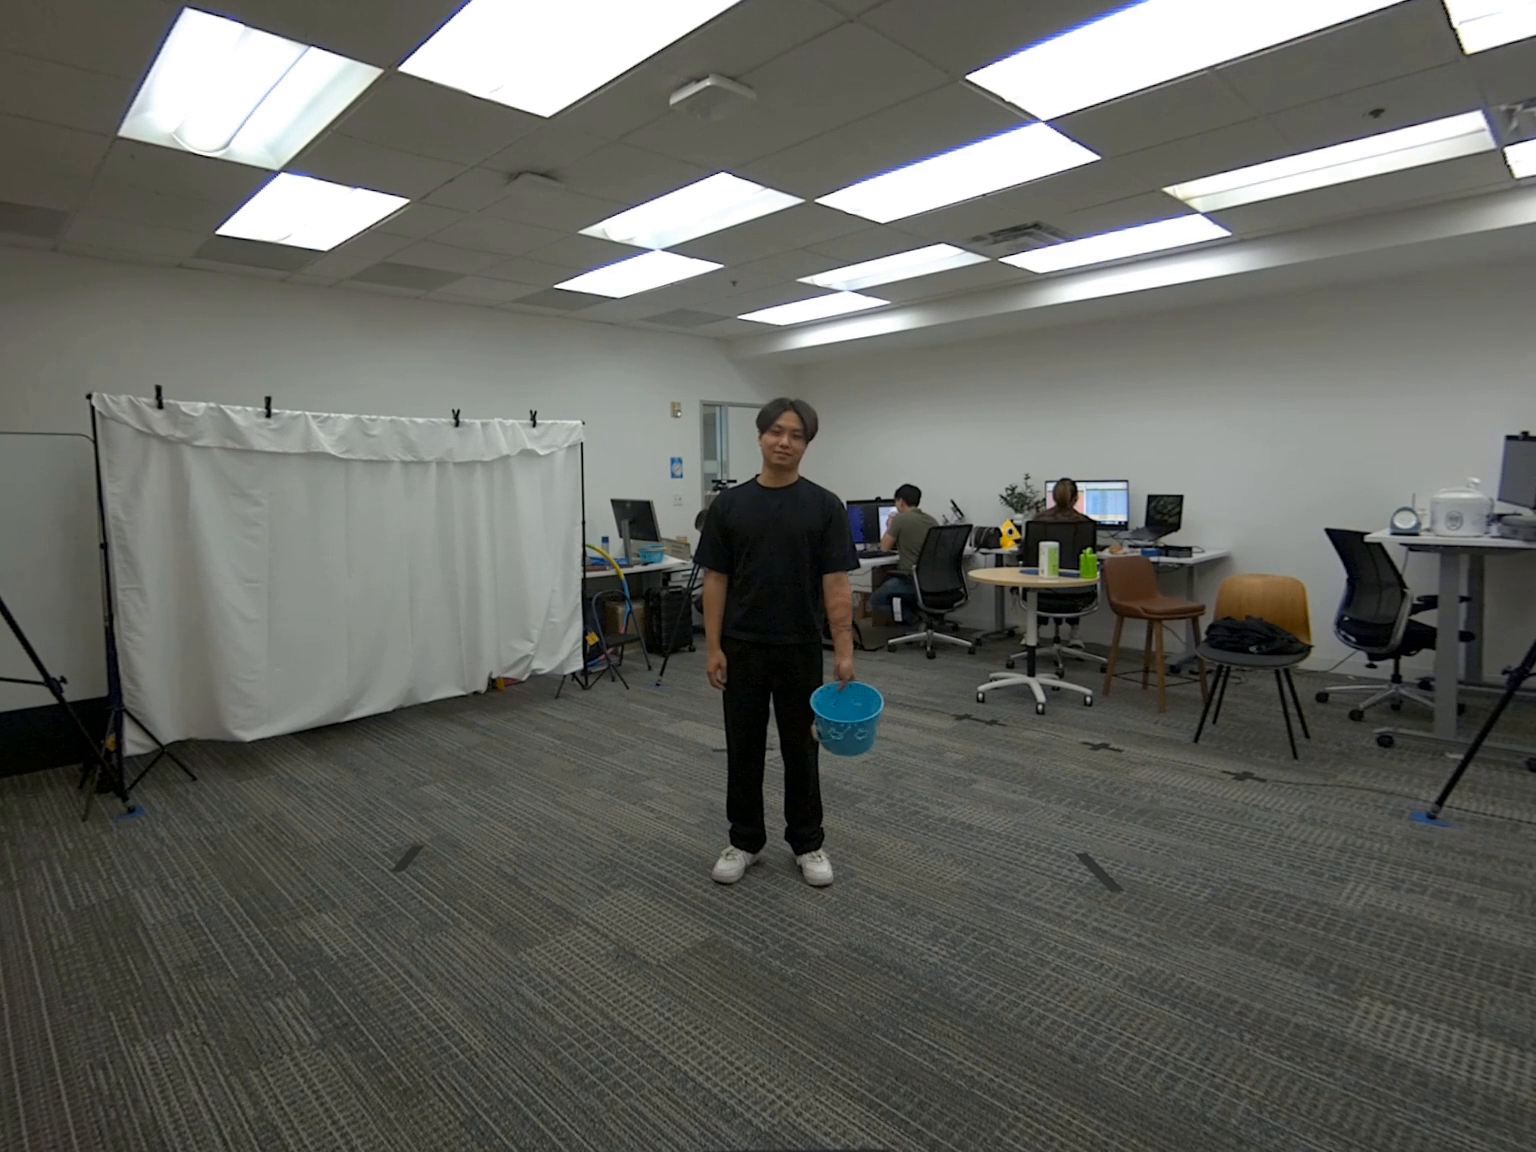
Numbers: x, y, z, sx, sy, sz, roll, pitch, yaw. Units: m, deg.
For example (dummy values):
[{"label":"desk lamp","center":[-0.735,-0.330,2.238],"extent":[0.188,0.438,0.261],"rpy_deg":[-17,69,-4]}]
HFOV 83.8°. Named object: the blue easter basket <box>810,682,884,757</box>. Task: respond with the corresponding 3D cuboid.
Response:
[{"label":"blue easter basket","center":[0.259,0.460,2.795],"extent":[0.244,0.152,0.248],"rpy_deg":[-5,24,0]}]
